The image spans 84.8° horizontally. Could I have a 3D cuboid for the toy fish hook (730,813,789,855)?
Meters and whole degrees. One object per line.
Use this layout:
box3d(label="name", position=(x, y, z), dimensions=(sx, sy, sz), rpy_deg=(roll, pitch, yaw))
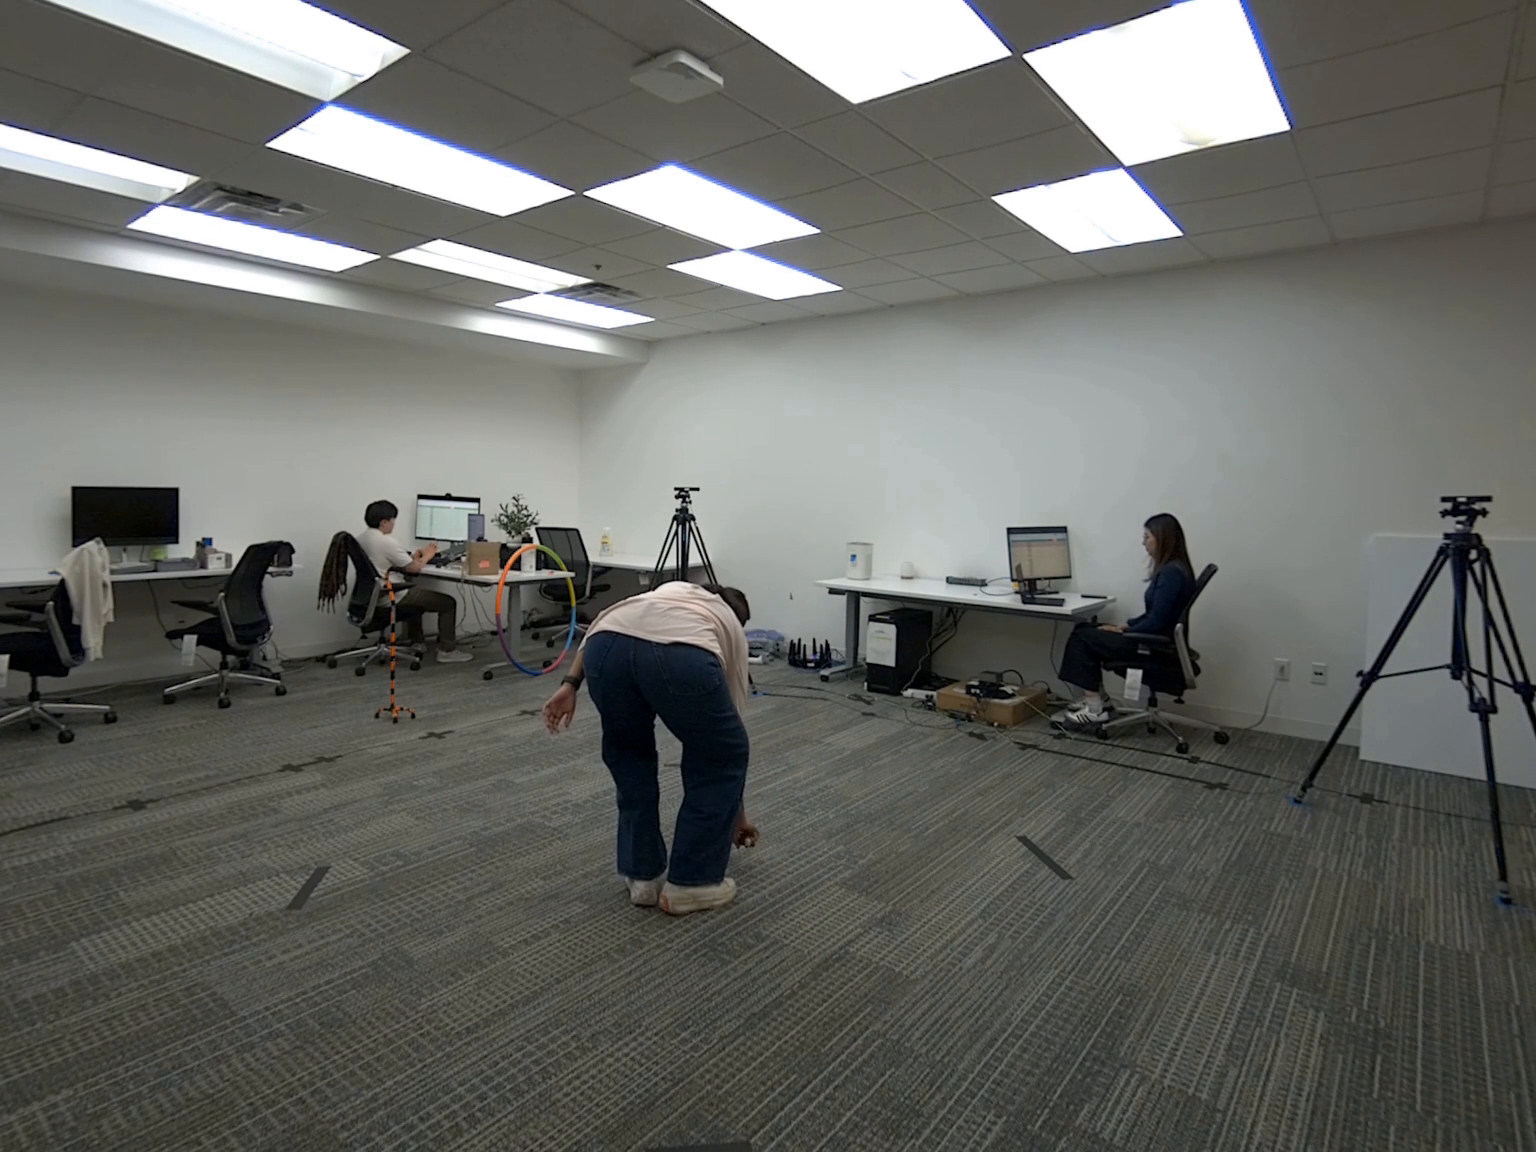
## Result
box3d(label="toy fish hook", position=(-0.140, 0.981, 3.269), dimensions=(0.219, 0.048, 0.515), rpy_deg=(-1, -4, -25))
